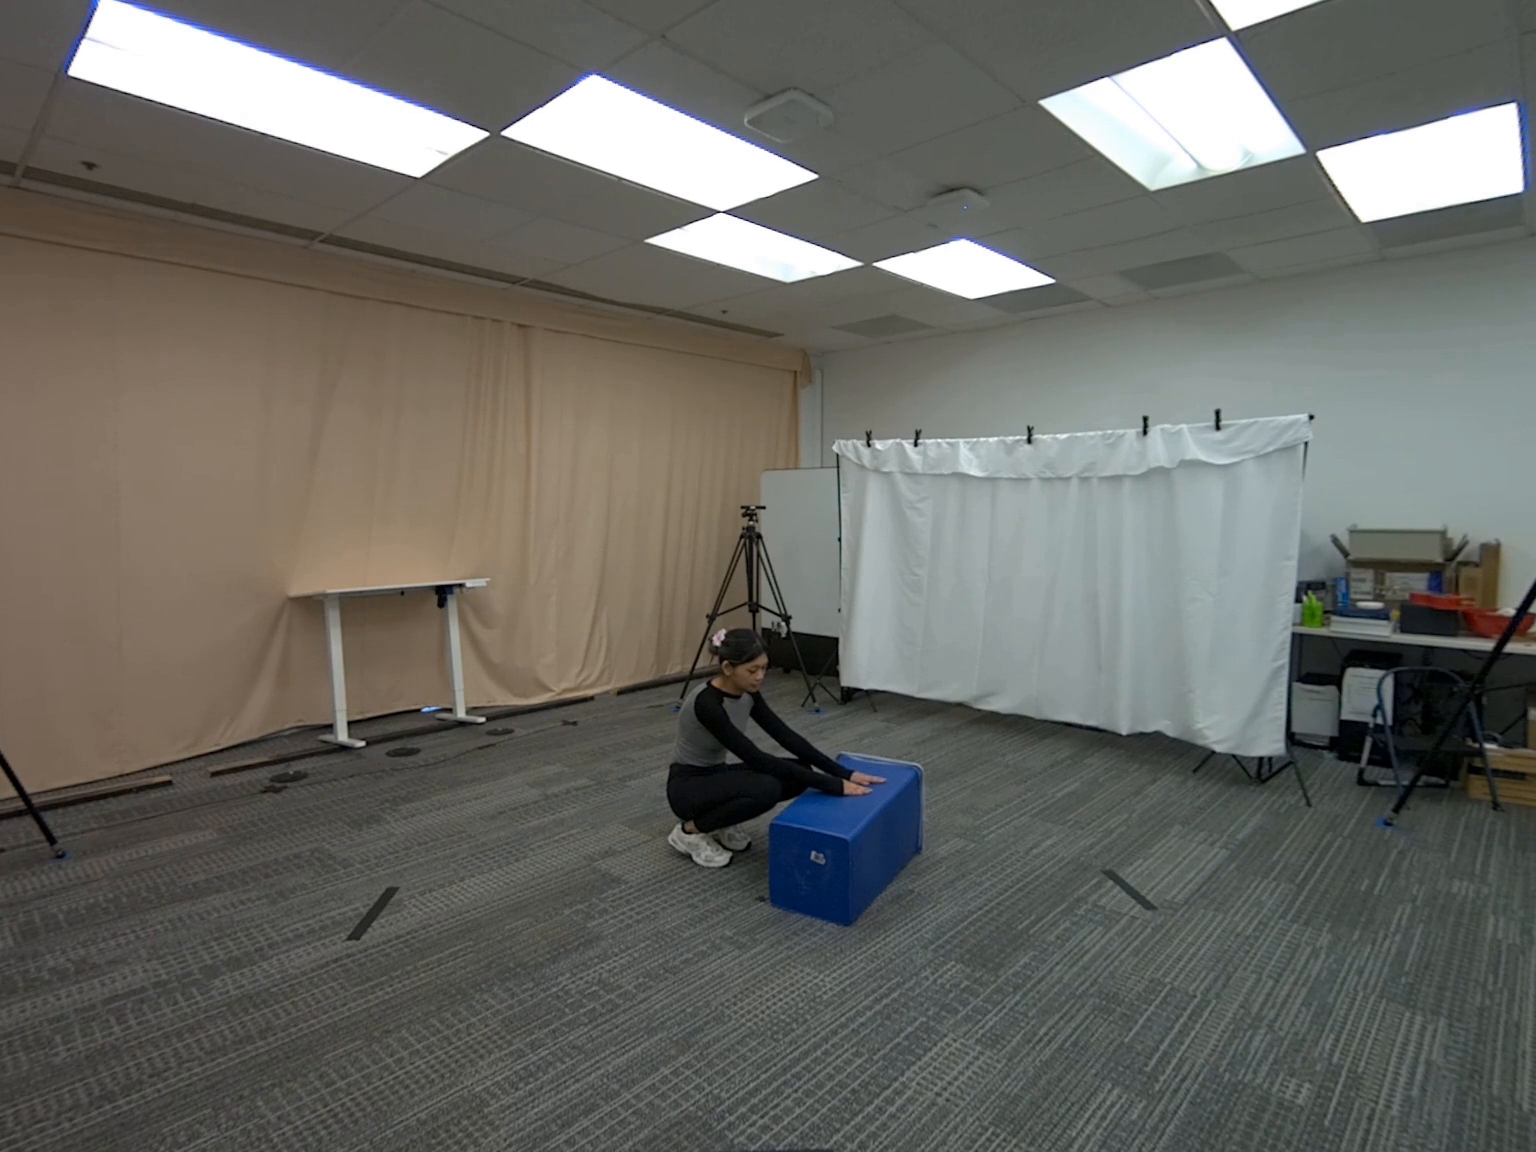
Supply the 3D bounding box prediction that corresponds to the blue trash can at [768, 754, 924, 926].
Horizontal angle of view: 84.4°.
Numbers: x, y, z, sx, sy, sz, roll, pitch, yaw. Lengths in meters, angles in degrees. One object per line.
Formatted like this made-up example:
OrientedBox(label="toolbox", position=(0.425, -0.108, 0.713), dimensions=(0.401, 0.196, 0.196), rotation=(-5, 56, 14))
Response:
OrientedBox(label="blue trash can", position=(0.298, 0.962, 3.143), dimensions=(0.385, 0.376, 0.696), rotation=(3, 8, 28))
